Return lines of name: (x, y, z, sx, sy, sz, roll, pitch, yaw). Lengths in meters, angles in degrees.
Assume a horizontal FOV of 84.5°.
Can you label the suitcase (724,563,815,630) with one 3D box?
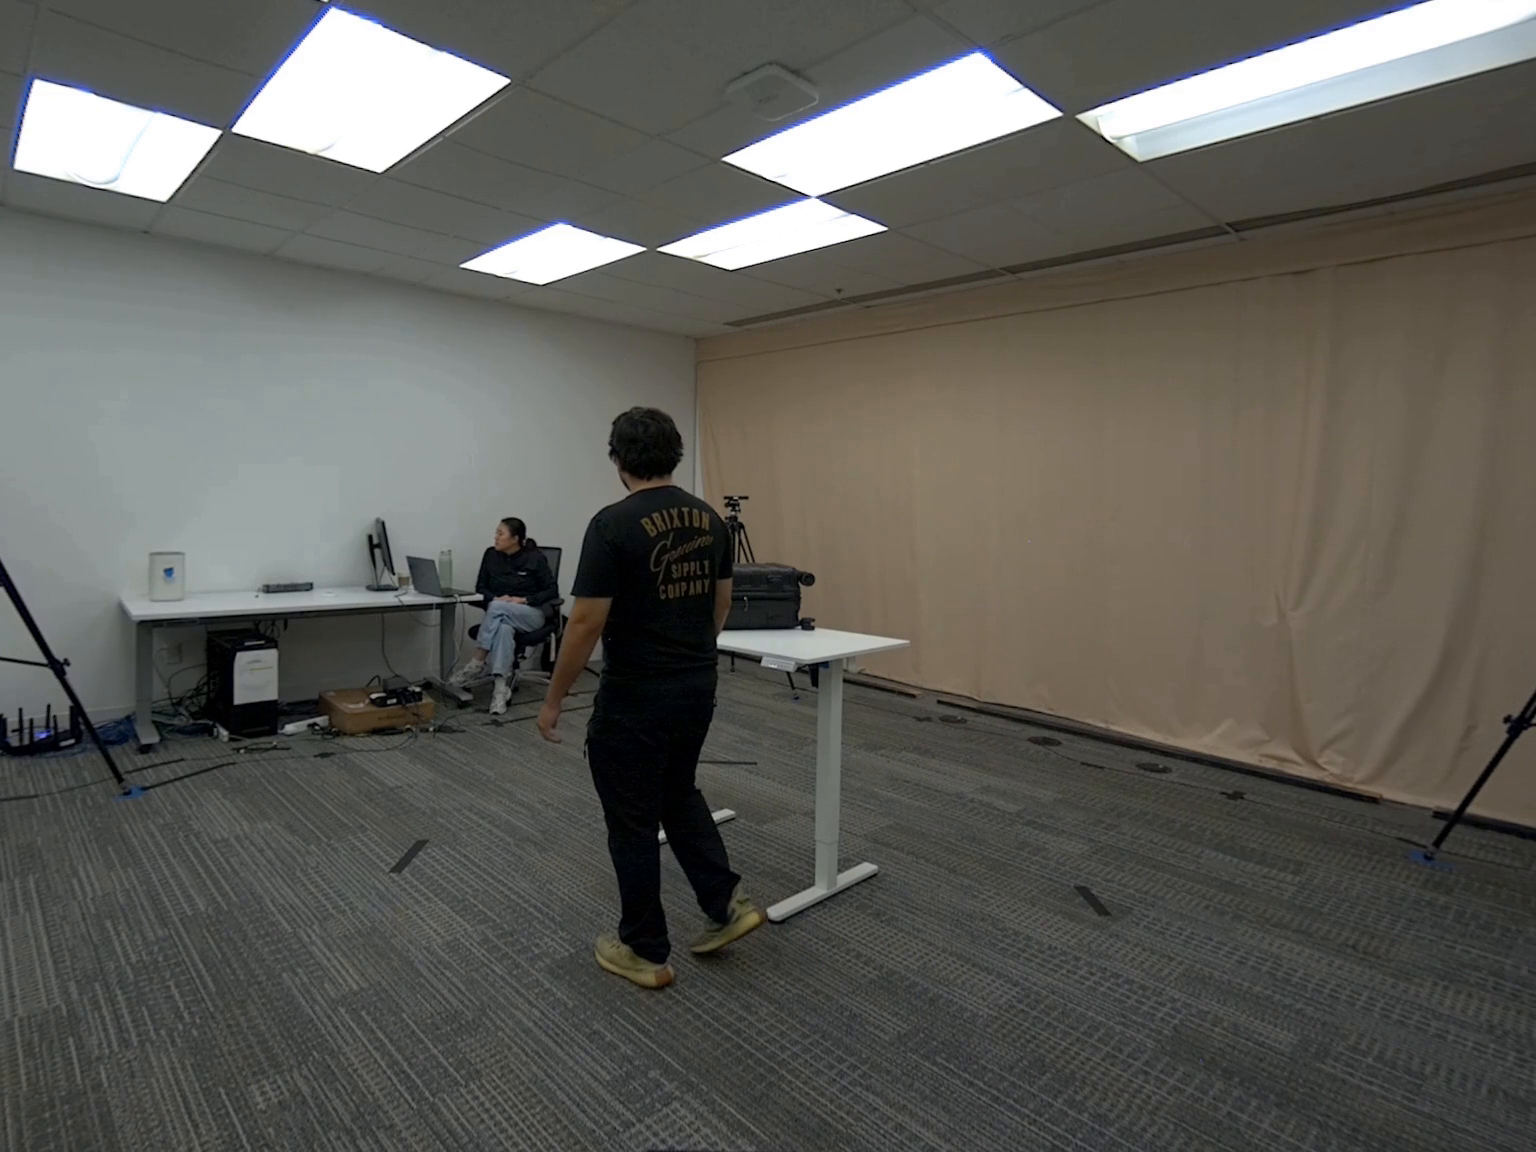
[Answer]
suitcase: (-0.133, 0.082, 3.384, 0.542, 0.248, 0.381, 0, 4, -17)
